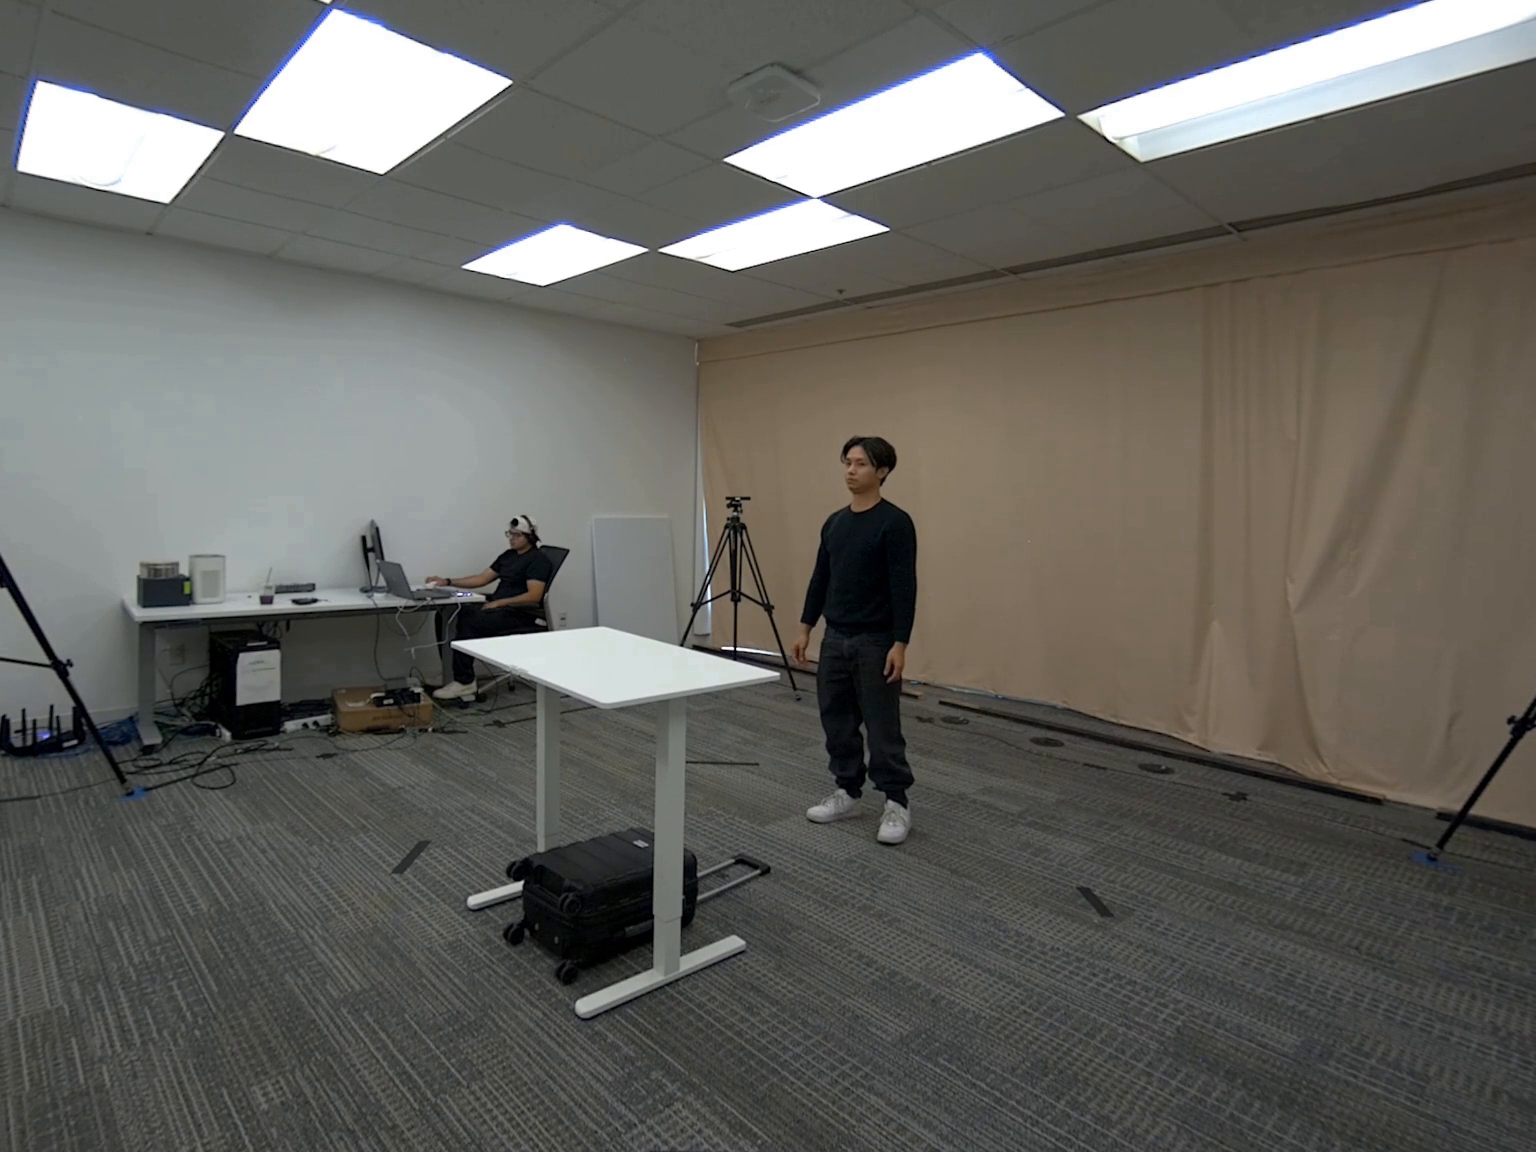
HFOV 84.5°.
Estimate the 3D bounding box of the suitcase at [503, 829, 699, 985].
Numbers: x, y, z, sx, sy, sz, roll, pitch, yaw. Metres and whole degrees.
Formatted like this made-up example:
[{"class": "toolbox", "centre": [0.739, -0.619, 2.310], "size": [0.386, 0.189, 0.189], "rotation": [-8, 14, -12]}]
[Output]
[{"class": "suitcase", "centre": [-0.375, 1.000, 2.829], "size": [0.394, 0.256, 0.956], "rotation": [5, 6, 43]}]
